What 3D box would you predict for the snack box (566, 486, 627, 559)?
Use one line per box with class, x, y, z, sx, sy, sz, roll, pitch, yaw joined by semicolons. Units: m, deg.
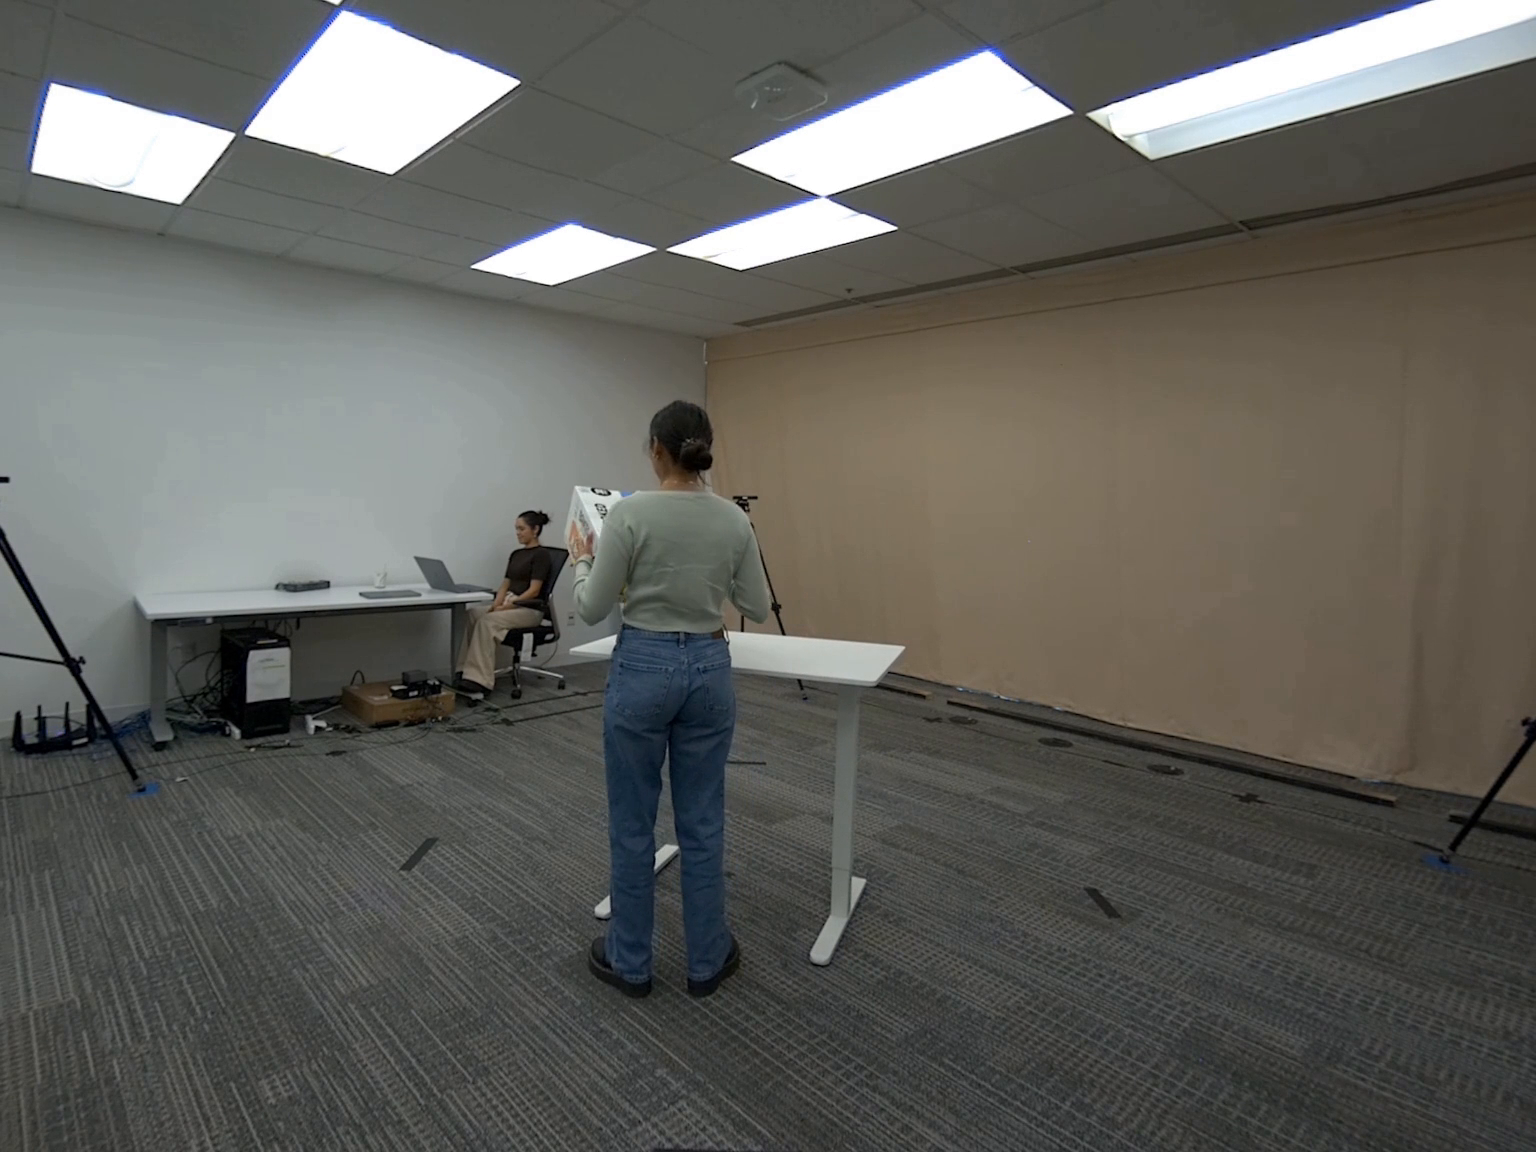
snack box;-0.446;-0.085;2.701;0.333;0.203;0.417;6;26;-26
